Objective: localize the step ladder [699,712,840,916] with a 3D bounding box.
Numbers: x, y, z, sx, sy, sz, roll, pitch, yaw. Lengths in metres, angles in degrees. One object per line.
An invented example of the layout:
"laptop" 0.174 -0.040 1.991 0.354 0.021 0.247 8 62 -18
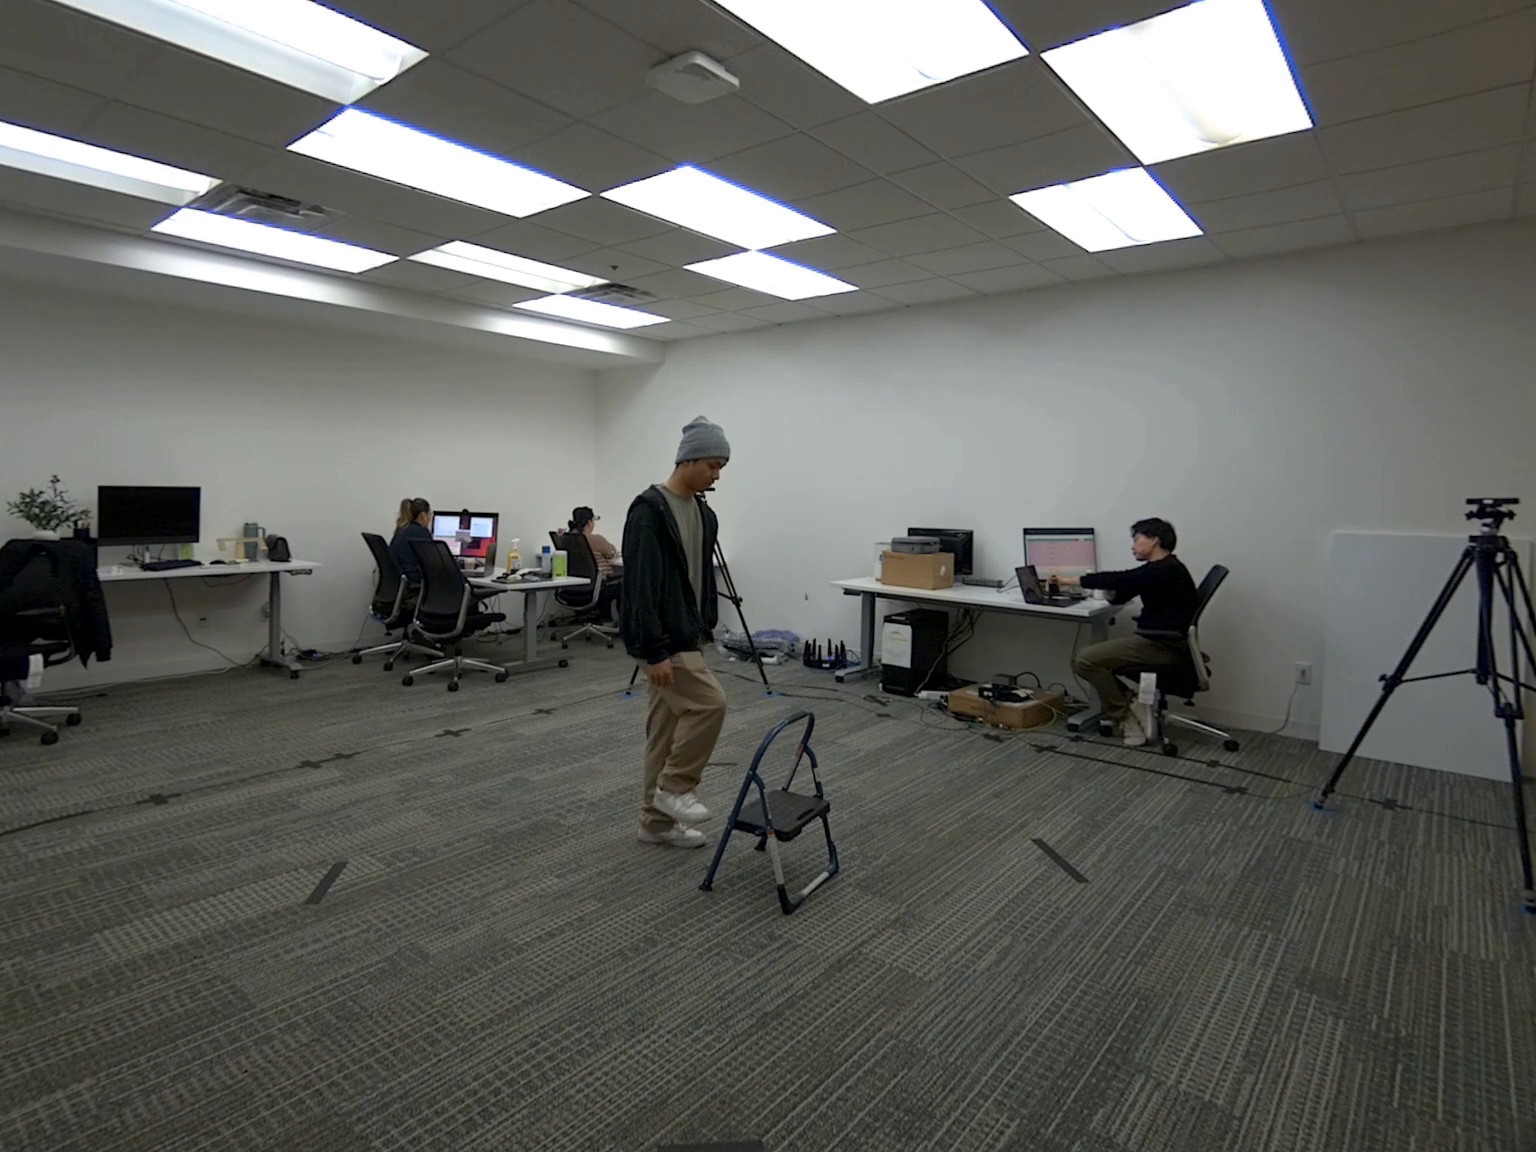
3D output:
"step ladder" 0.015 0.777 3.017 0.359 0.604 0.420 3 4 29
